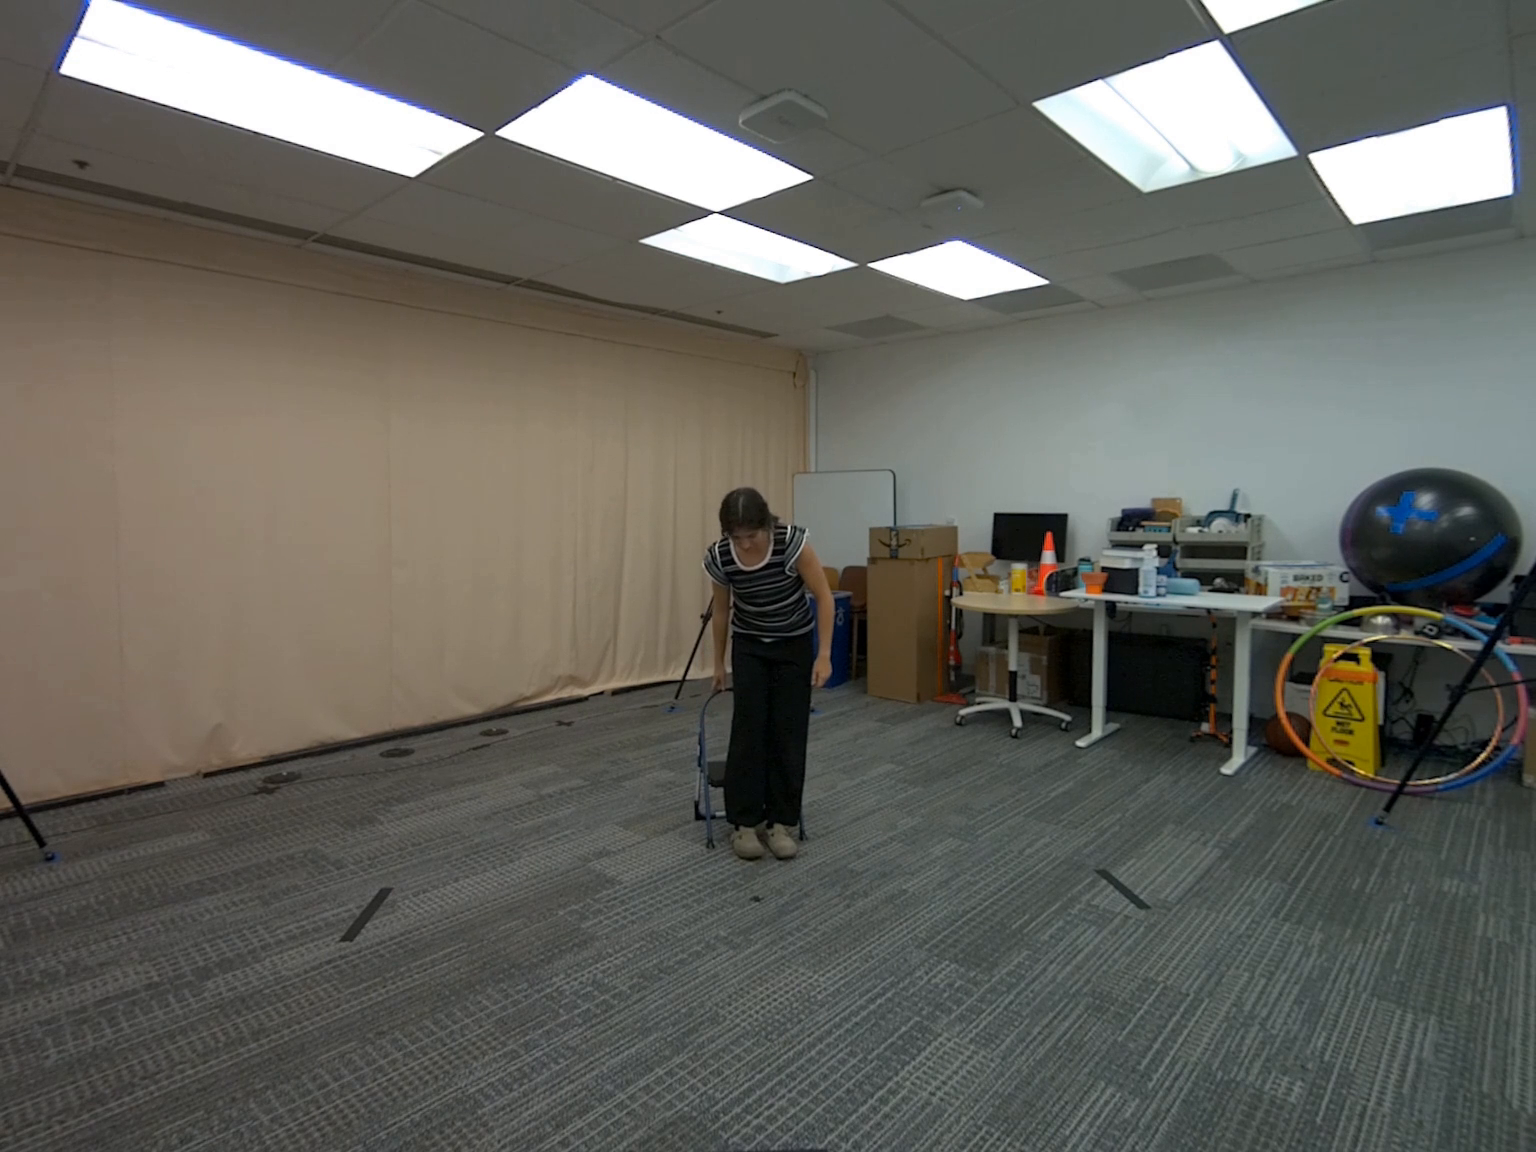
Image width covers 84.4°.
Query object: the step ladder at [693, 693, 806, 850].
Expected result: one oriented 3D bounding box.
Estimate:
[{"bbox_3d":[-0.084,0.793,3.624,0.425,0.604,0.355,0,4,-14],"label":"step ladder"}]
